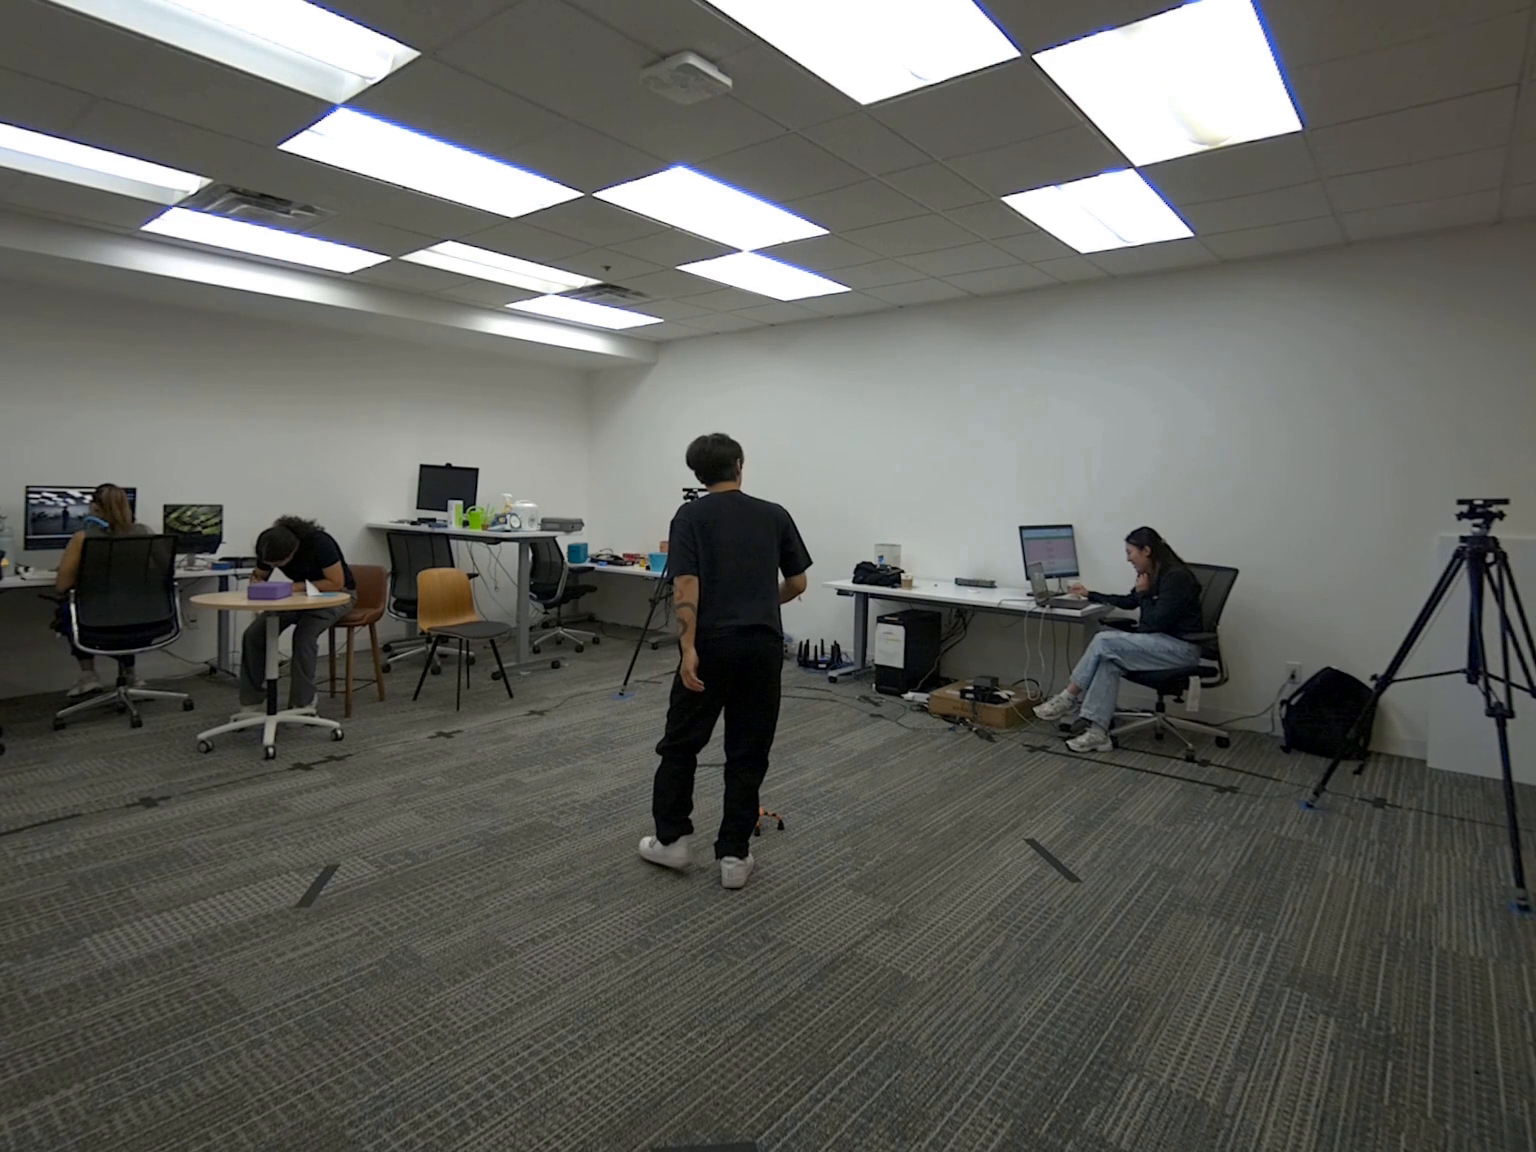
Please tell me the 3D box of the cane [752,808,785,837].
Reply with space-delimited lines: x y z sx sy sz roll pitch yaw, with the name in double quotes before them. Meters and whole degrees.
"cane" -0.049 0.580 3.529 0.147 0.908 0.213 1 0 -36
